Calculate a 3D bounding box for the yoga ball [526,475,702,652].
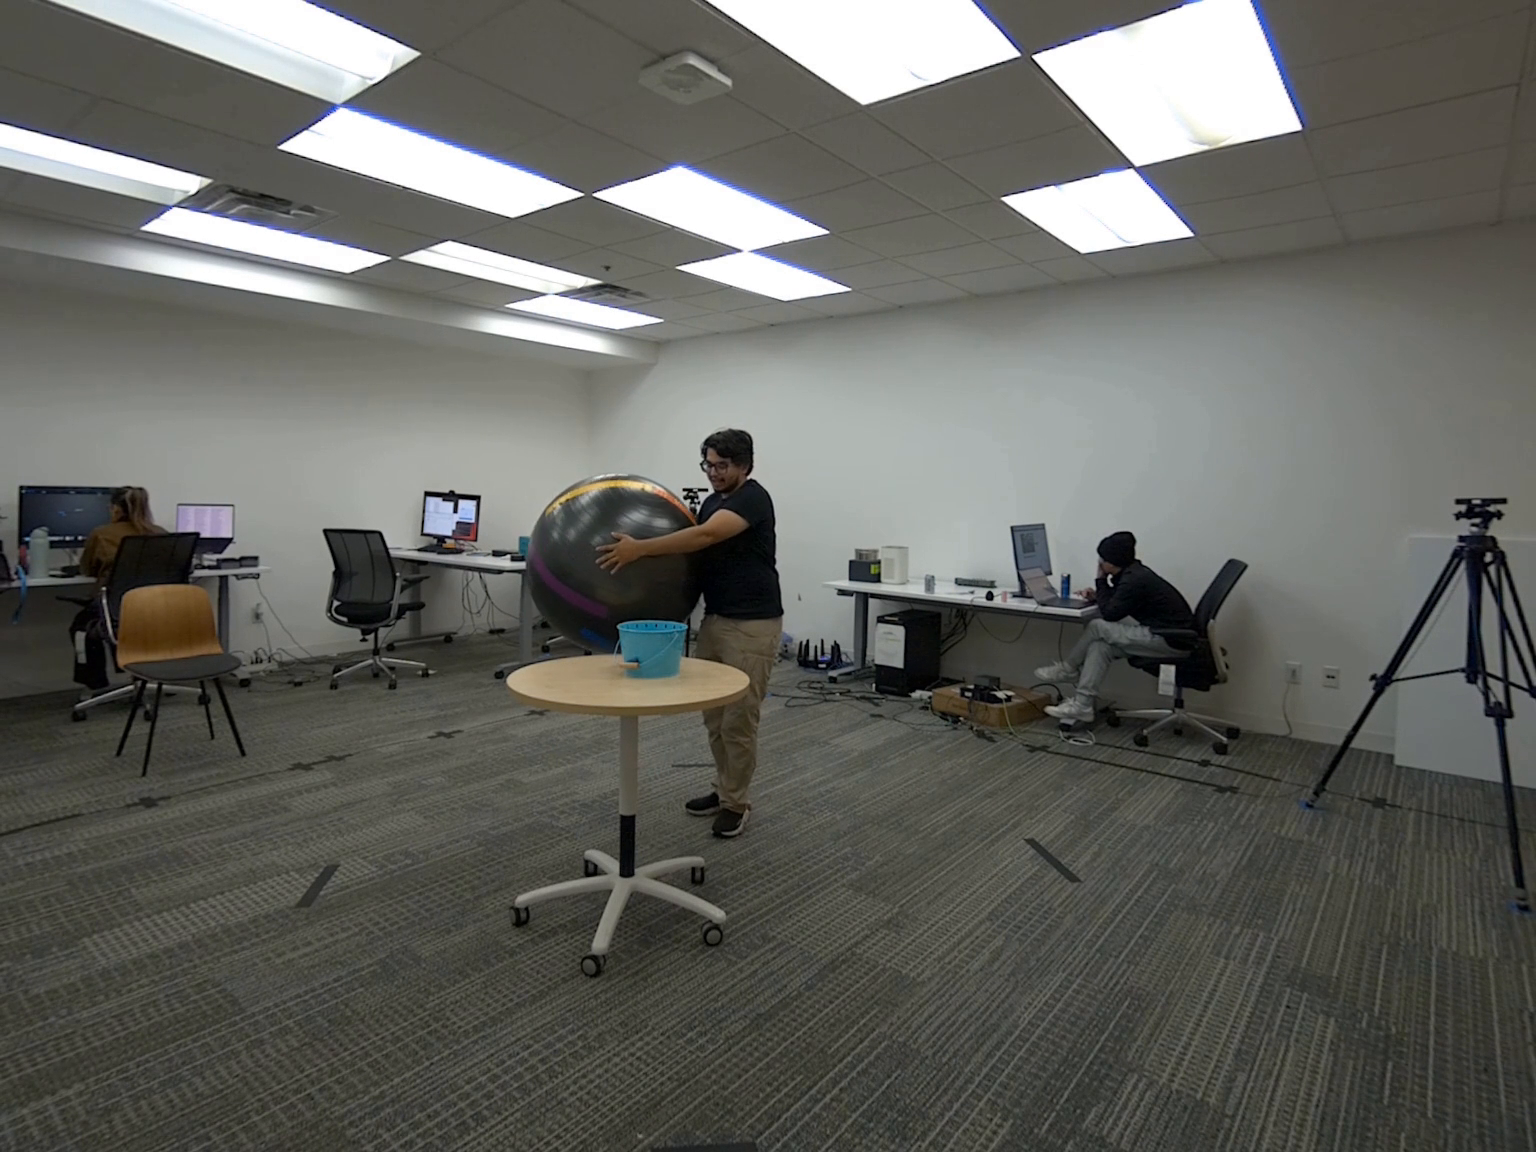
[{"bbox_3d":[-0.656,-0.052,3.615,0.757,0.755,0.762,1,4,-2],"label":"yoga ball"}]
